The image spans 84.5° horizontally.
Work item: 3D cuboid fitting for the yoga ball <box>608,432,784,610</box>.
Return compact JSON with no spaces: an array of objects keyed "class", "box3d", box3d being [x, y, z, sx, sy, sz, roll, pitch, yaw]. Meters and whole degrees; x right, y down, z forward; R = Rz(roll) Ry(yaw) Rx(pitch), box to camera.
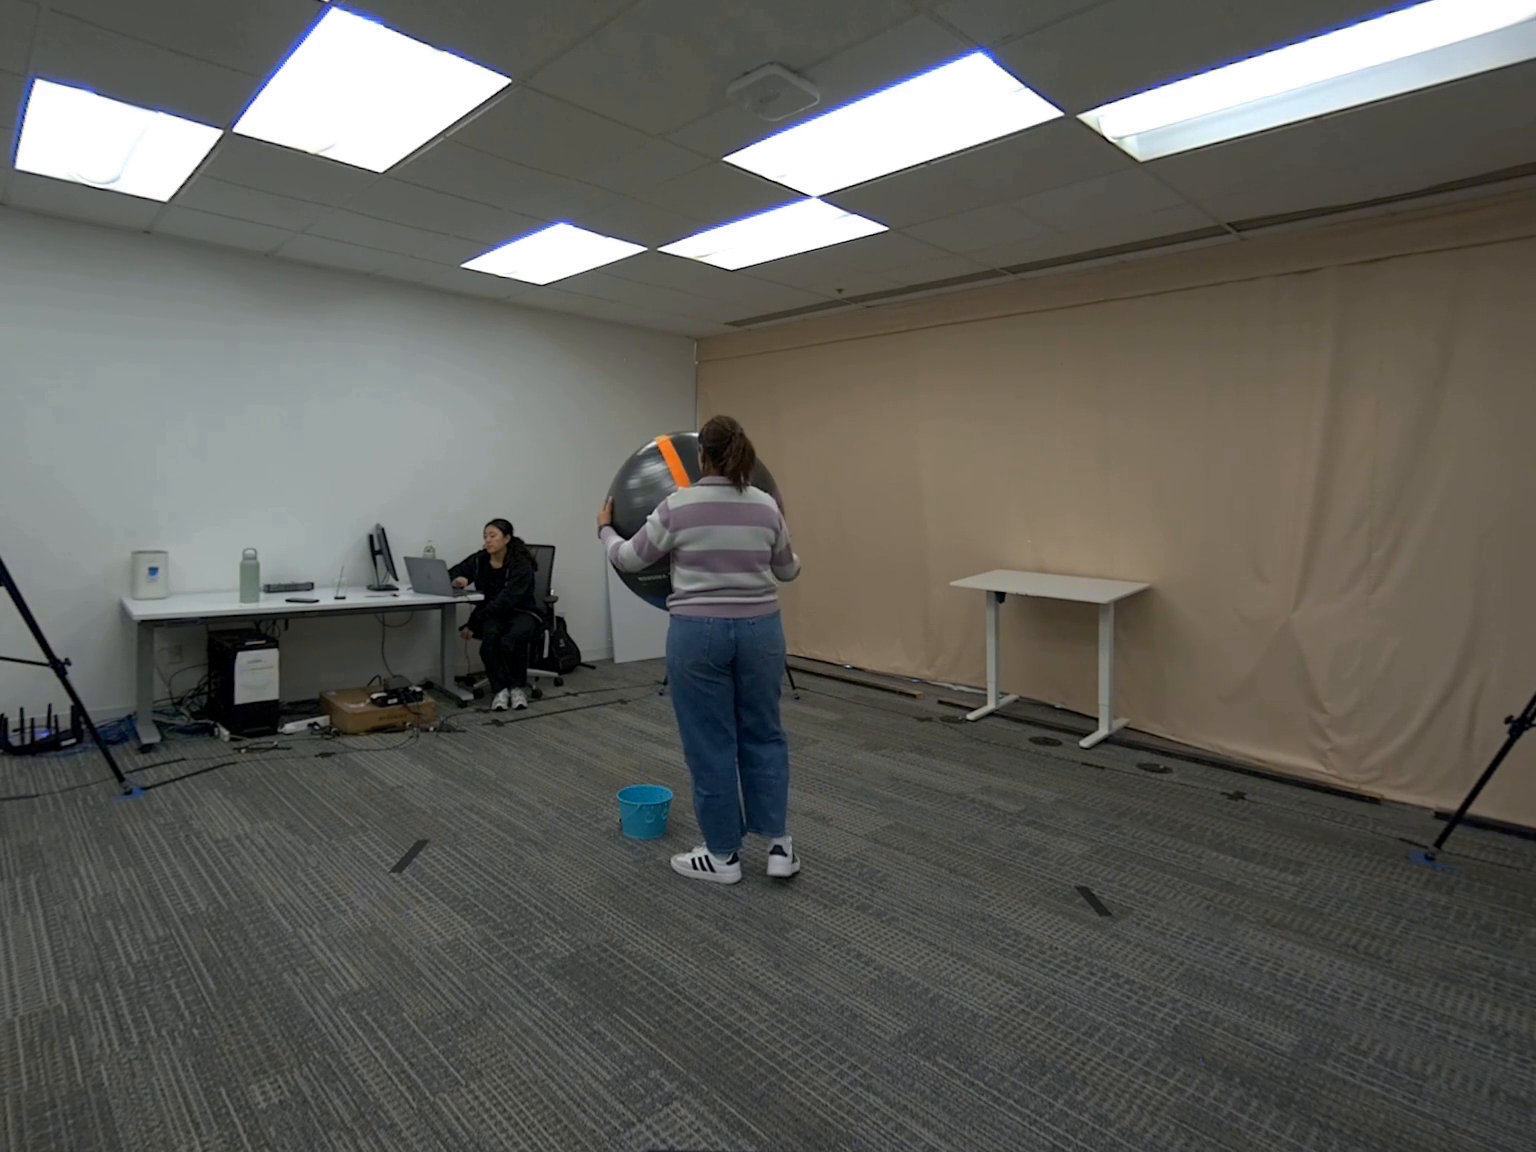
[{"class":"yoga ball","box3d":[-0.321,-0.217,3.489,0.757,0.756,0.761,1,4,-1]}]
